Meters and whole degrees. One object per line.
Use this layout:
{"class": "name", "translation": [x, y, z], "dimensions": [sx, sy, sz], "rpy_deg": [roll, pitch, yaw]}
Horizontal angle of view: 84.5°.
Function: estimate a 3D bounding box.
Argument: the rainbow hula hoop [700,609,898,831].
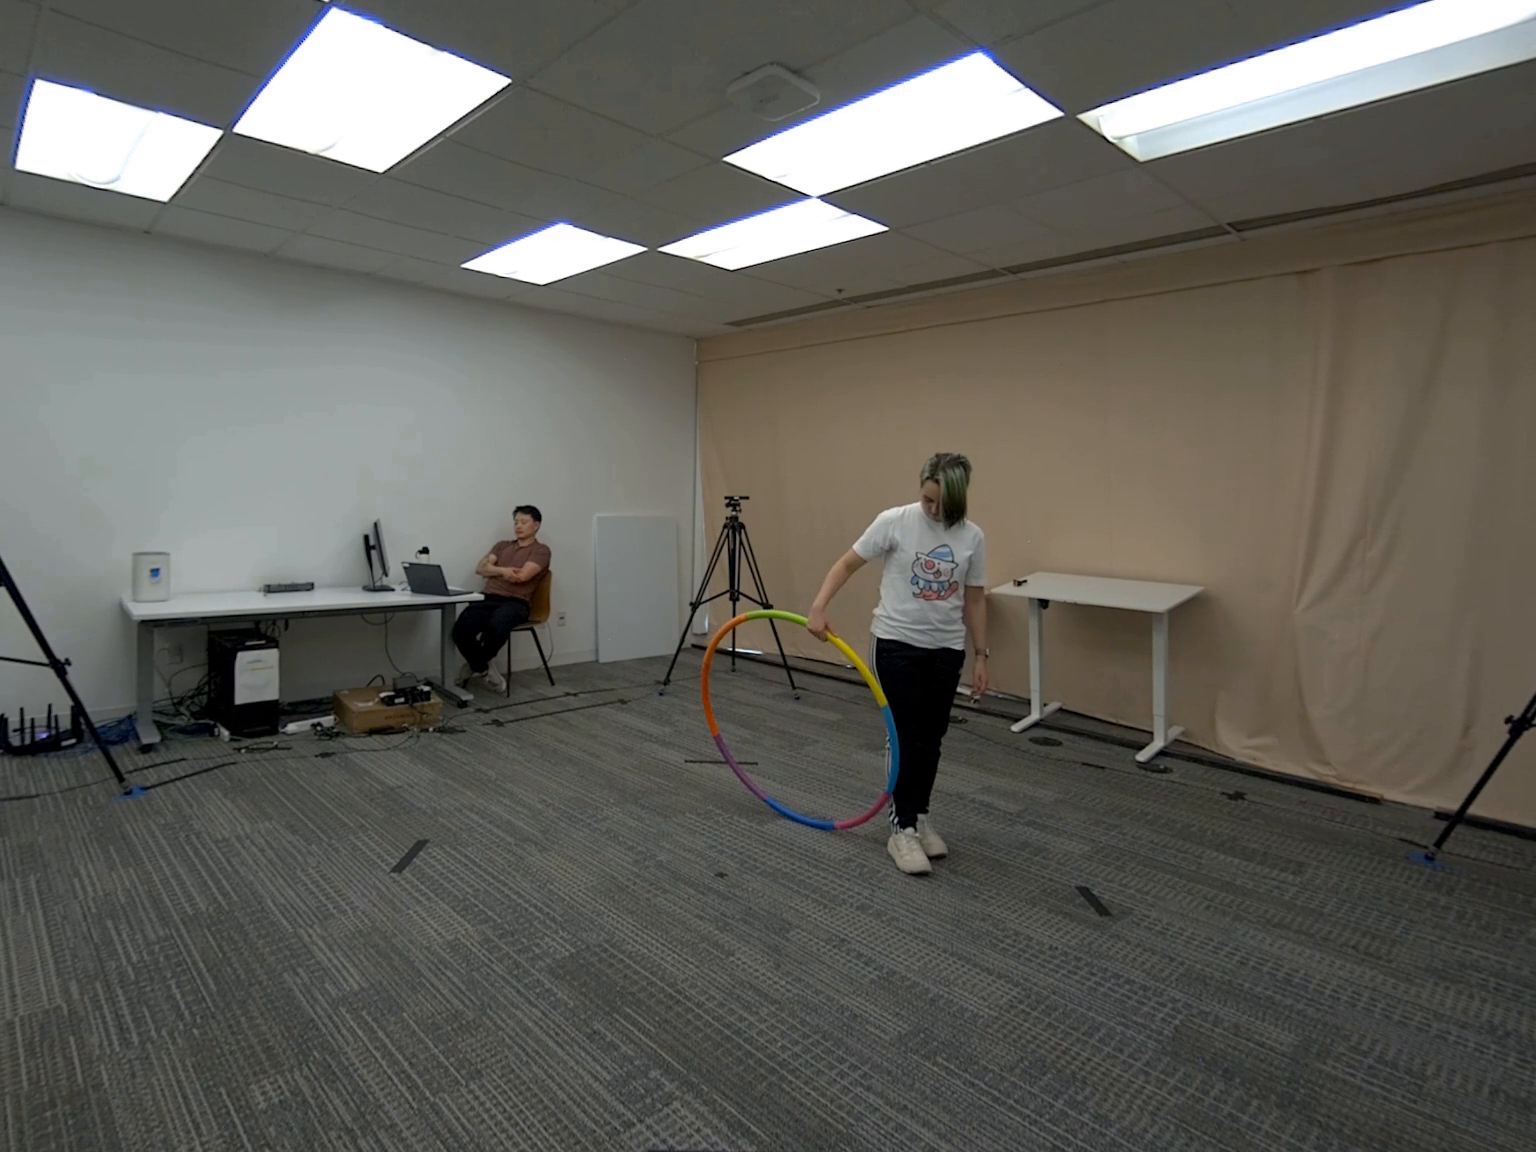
{"class": "rainbow hula hoop", "translation": [0.093, 0.604, 3.513], "dimensions": [1.003, 0.967, 0.035], "rpy_deg": [5, 19, 40]}
